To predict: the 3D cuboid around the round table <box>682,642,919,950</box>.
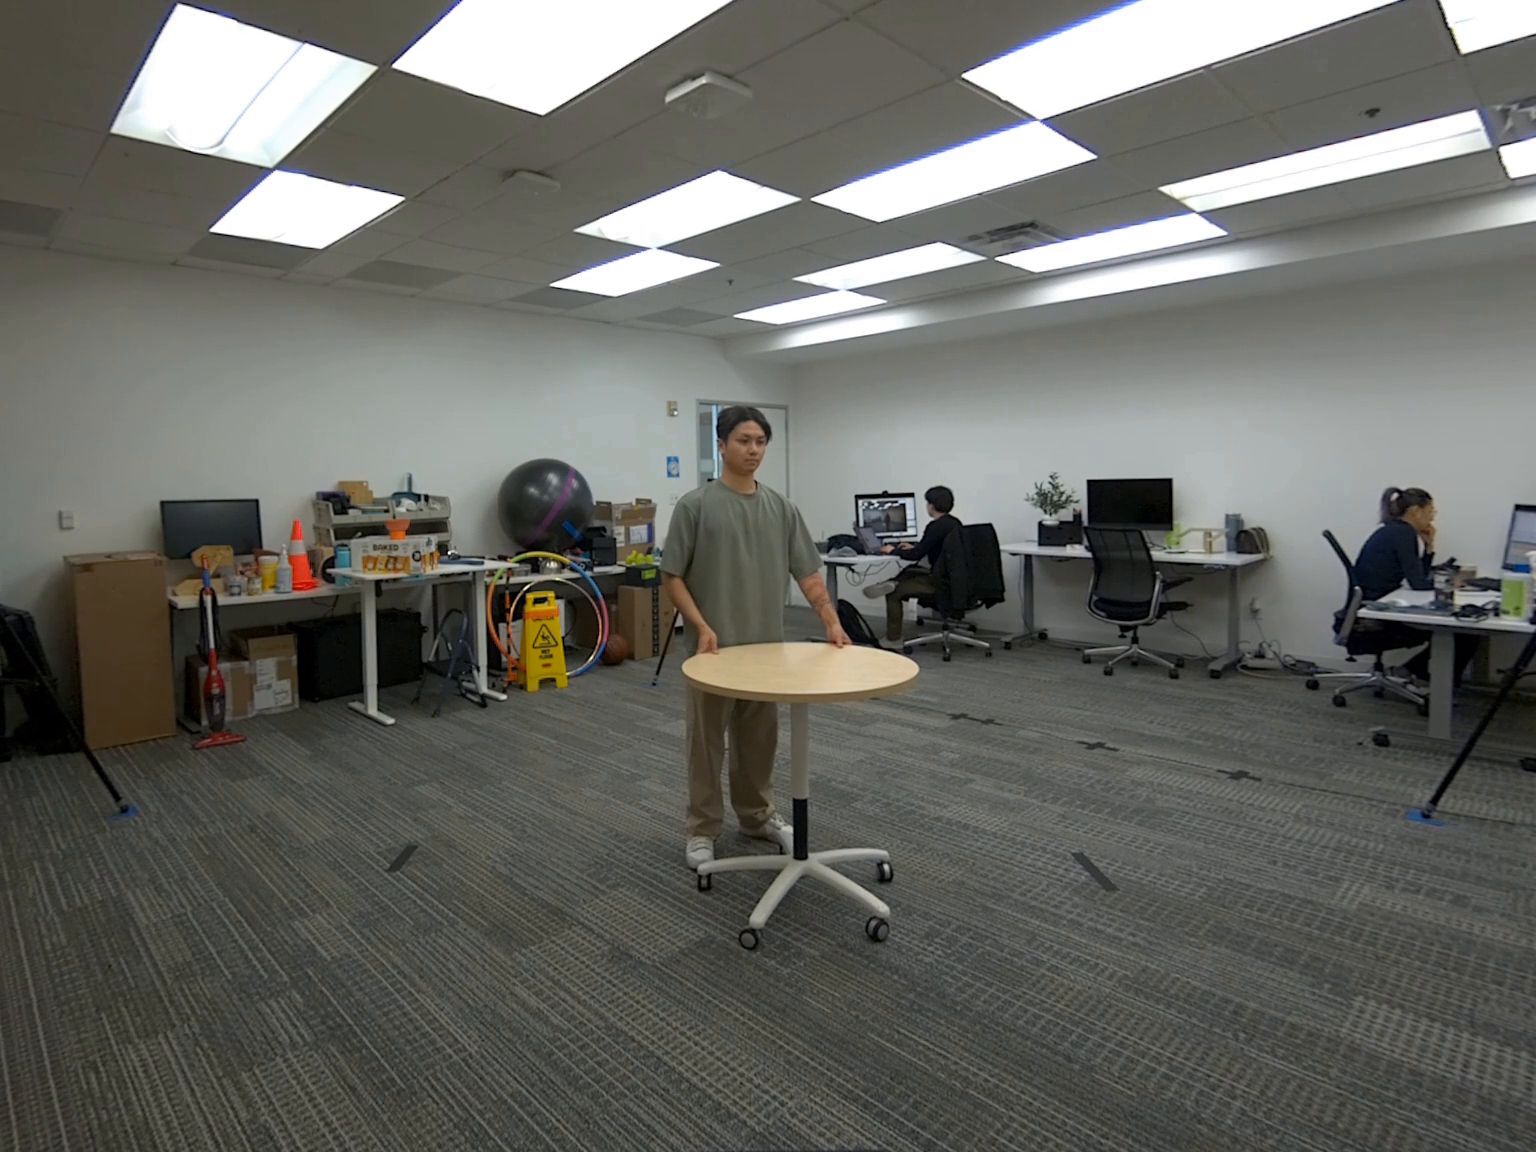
[{"bbox_3d":[0.100,0.682,2.801,0.784,0.783,0.789,-1,5,-2],"label":"round table"}]
